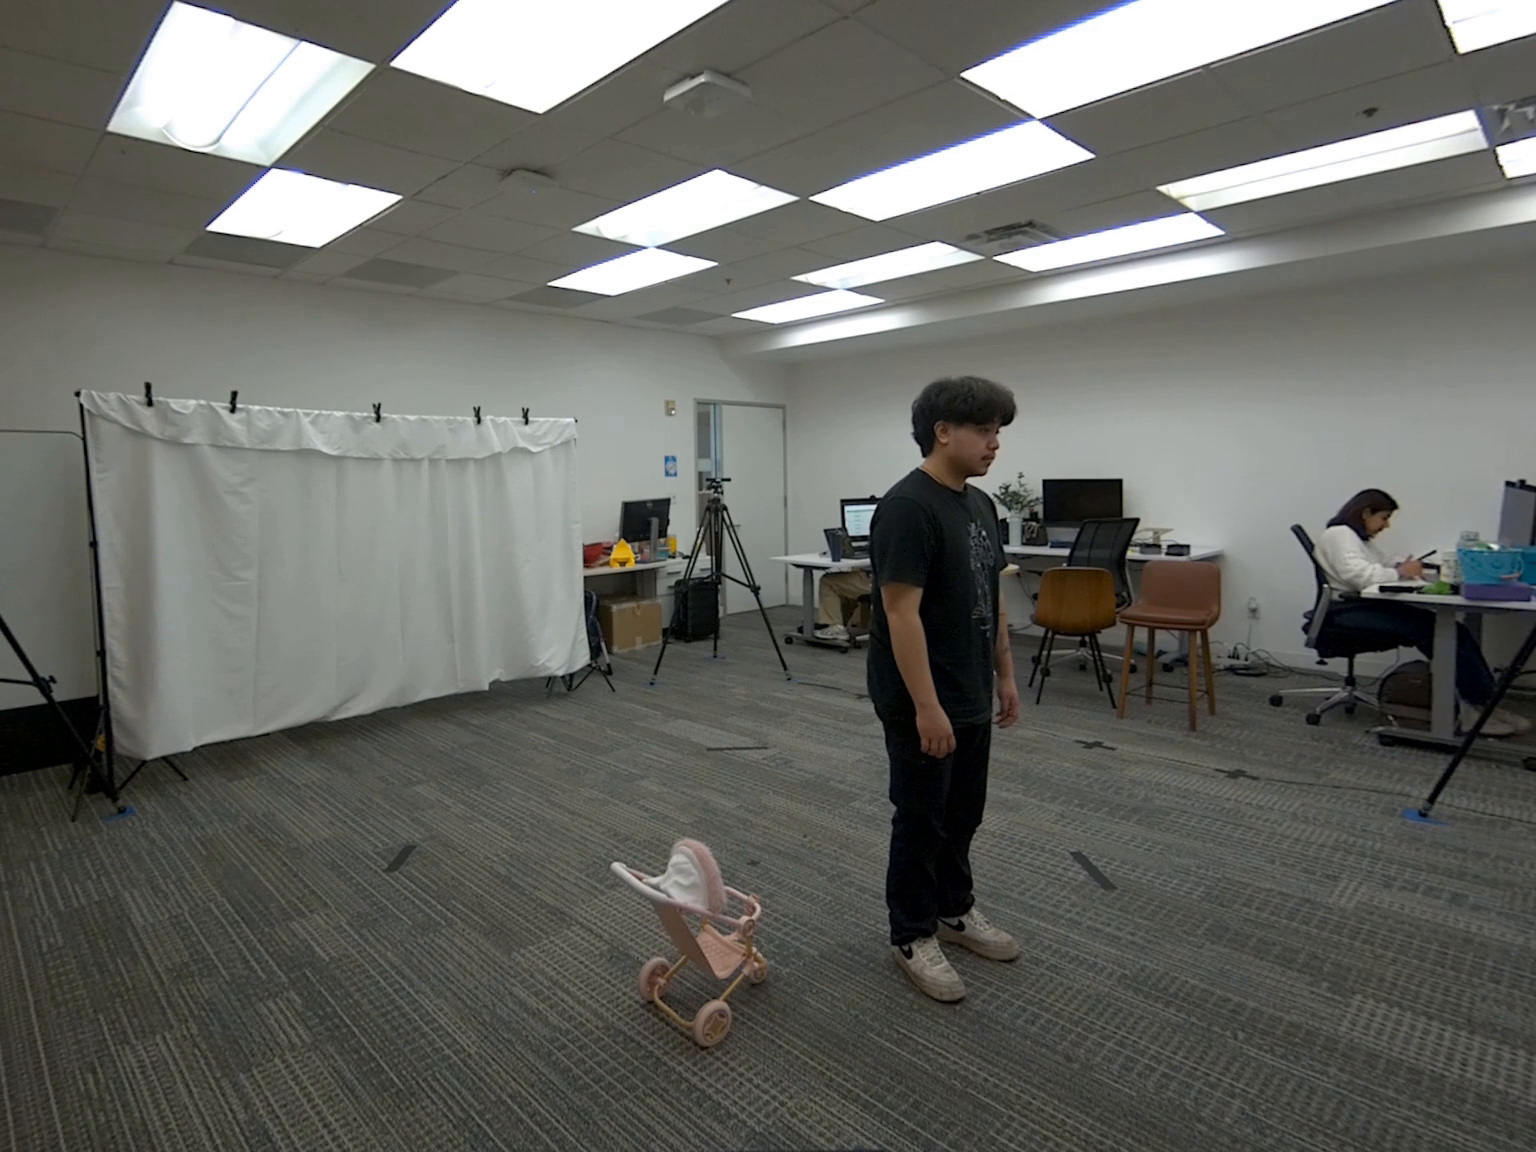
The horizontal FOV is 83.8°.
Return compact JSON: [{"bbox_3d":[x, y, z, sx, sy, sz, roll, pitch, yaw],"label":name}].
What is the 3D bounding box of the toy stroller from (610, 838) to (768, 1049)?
[{"bbox_3d":[-0.169,0.934,2.232,0.336,0.527,0.290,-23,16,-34],"label":"toy stroller"}]
